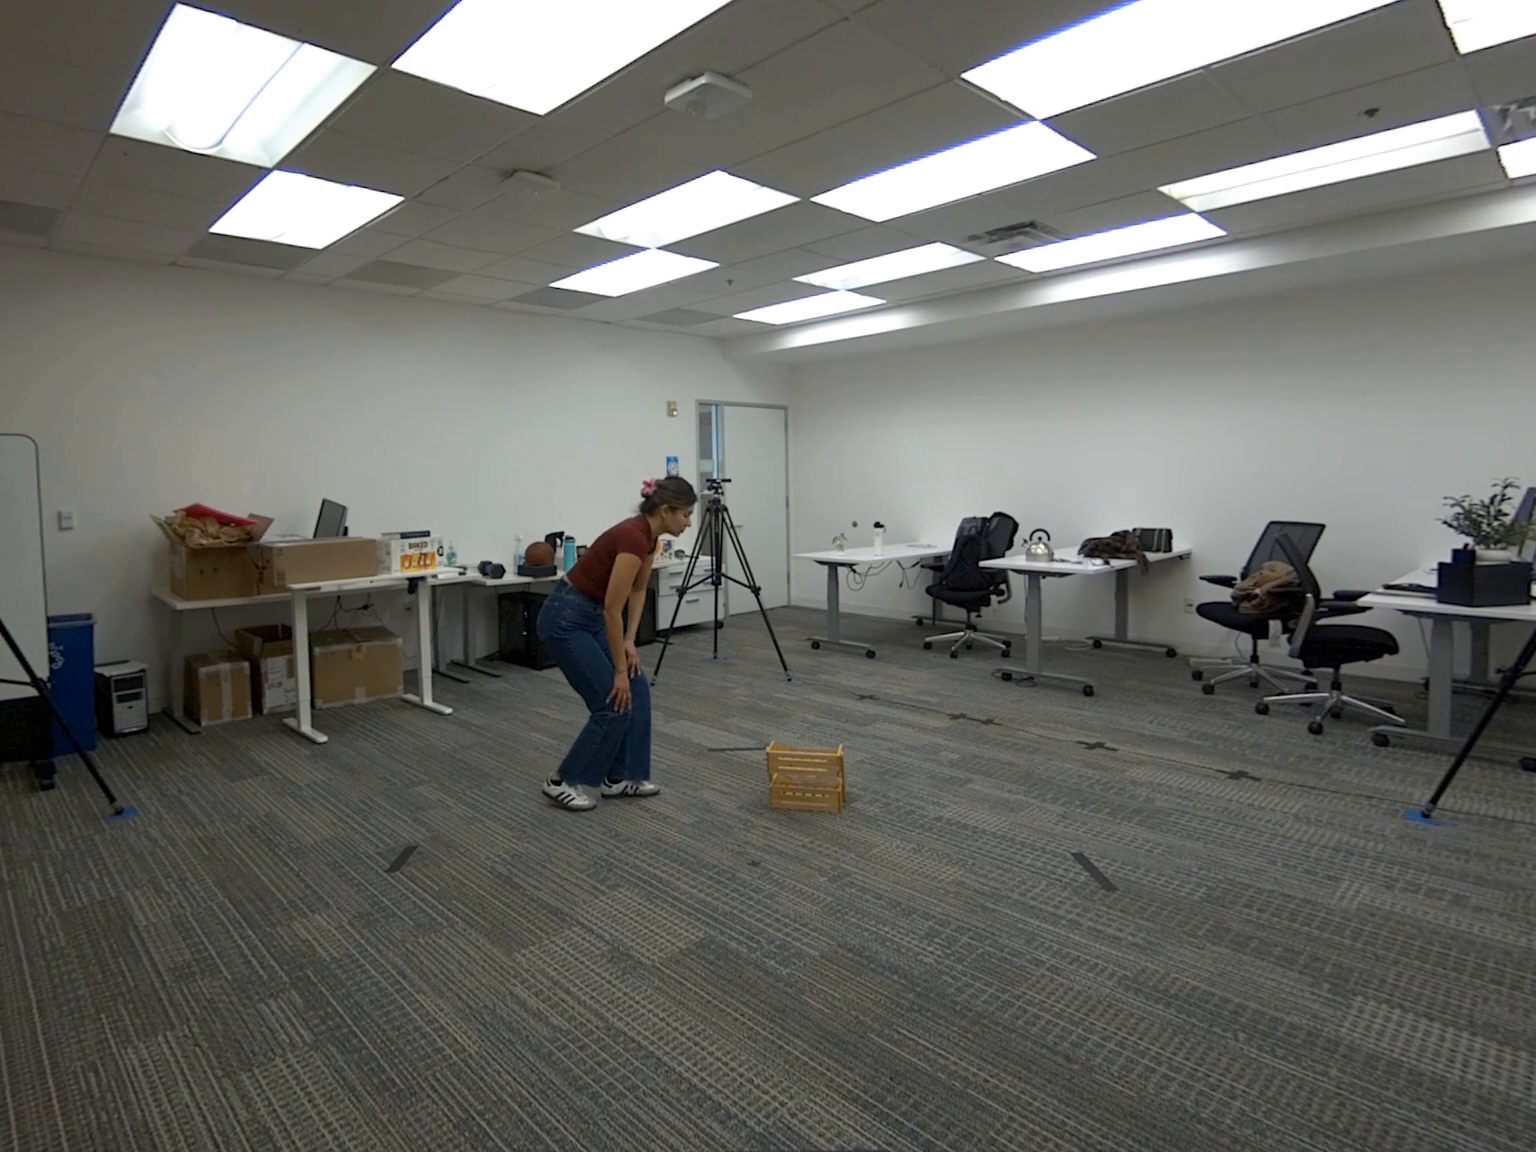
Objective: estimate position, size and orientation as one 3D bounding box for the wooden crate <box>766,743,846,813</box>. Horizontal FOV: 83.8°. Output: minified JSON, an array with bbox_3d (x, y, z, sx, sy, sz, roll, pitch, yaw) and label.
[{"bbox_3d":[0.169,0.843,3.691,0.328,0.272,0.299,0,4,11],"label":"wooden crate"}]
